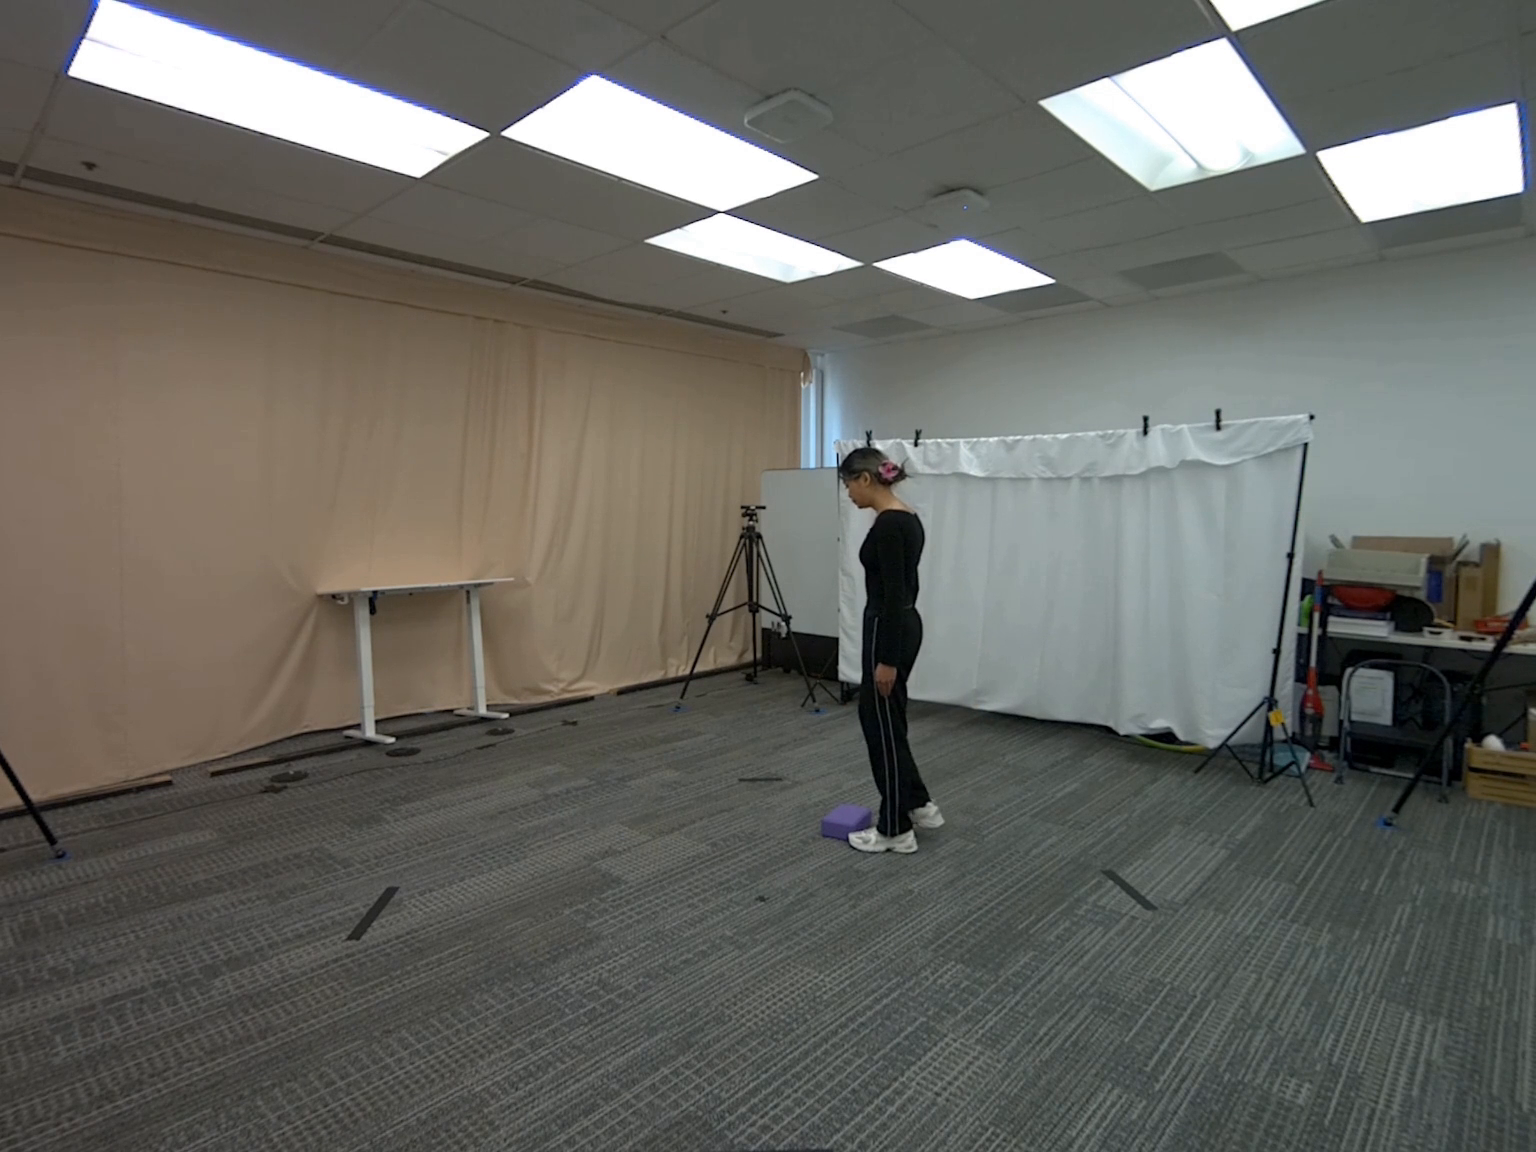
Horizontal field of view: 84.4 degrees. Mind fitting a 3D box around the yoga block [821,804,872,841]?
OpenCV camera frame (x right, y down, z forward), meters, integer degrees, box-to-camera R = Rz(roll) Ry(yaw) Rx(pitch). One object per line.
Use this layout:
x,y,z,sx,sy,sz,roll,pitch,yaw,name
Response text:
0.341,1.052,3.605,0.153,0.076,0.223,2,5,27,yoga block
